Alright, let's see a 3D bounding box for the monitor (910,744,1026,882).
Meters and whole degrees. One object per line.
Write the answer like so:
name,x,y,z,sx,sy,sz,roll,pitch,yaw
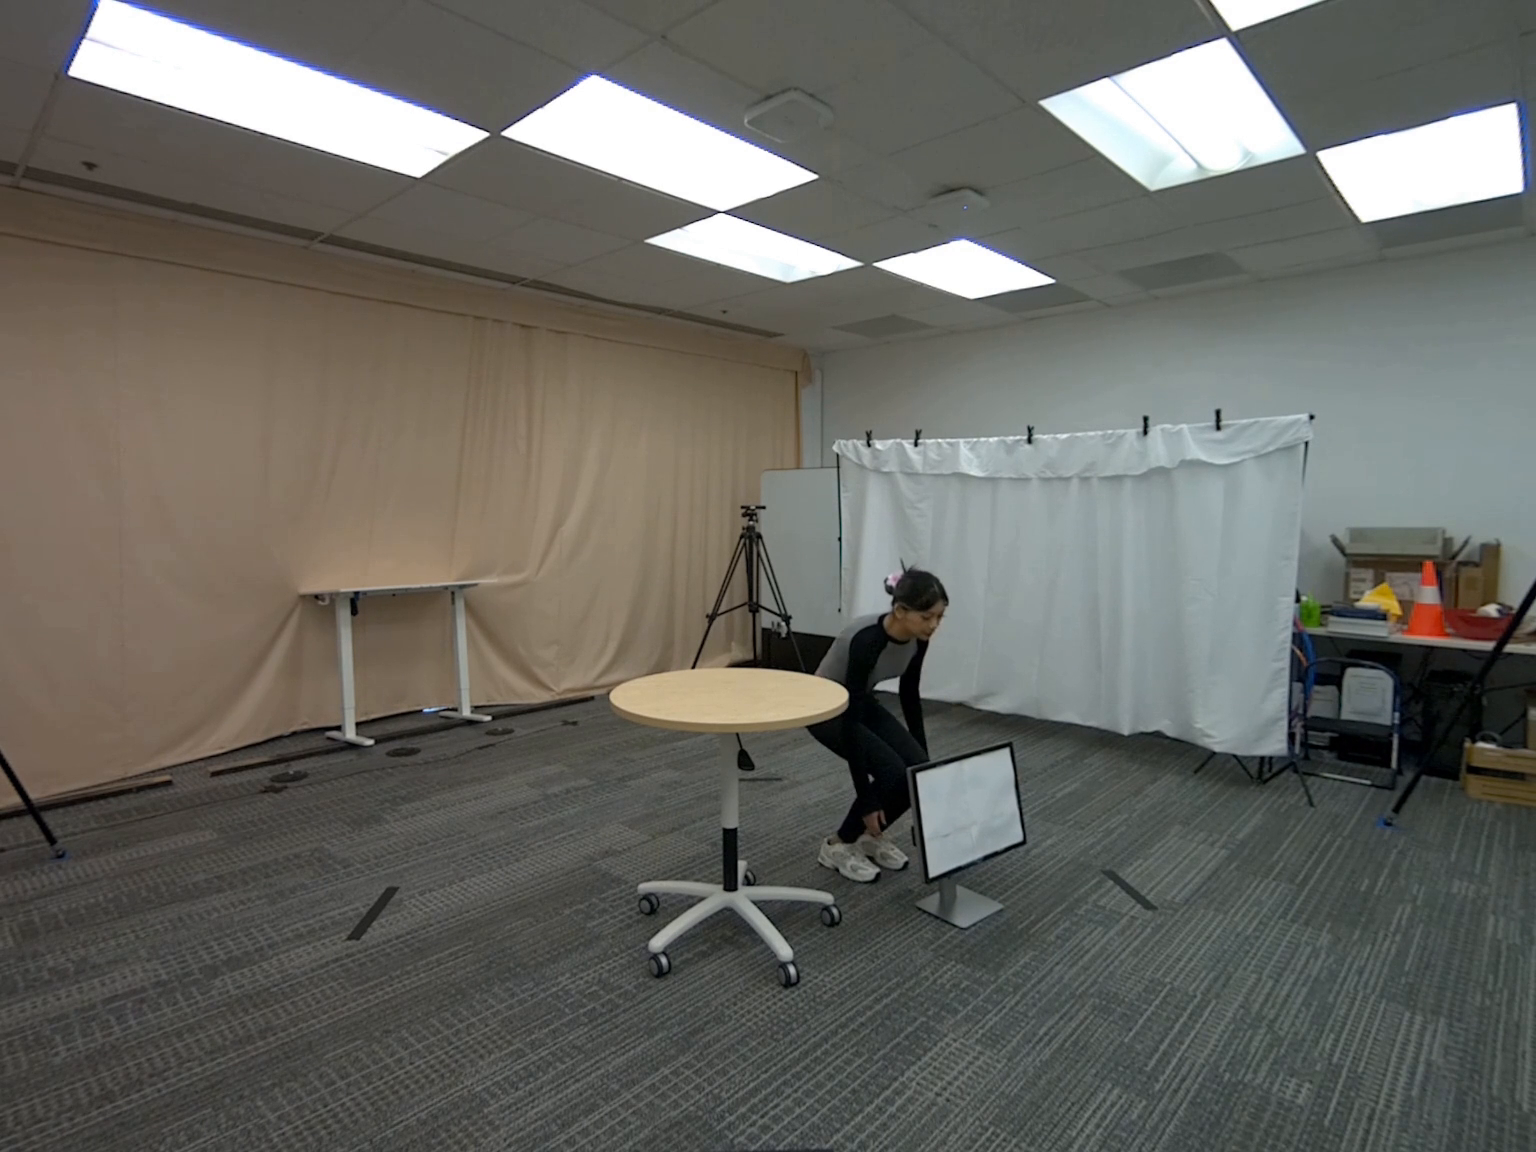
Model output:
monitor,0.677,0.884,2.902,0.522,0.521,0.193,-4,7,-45
